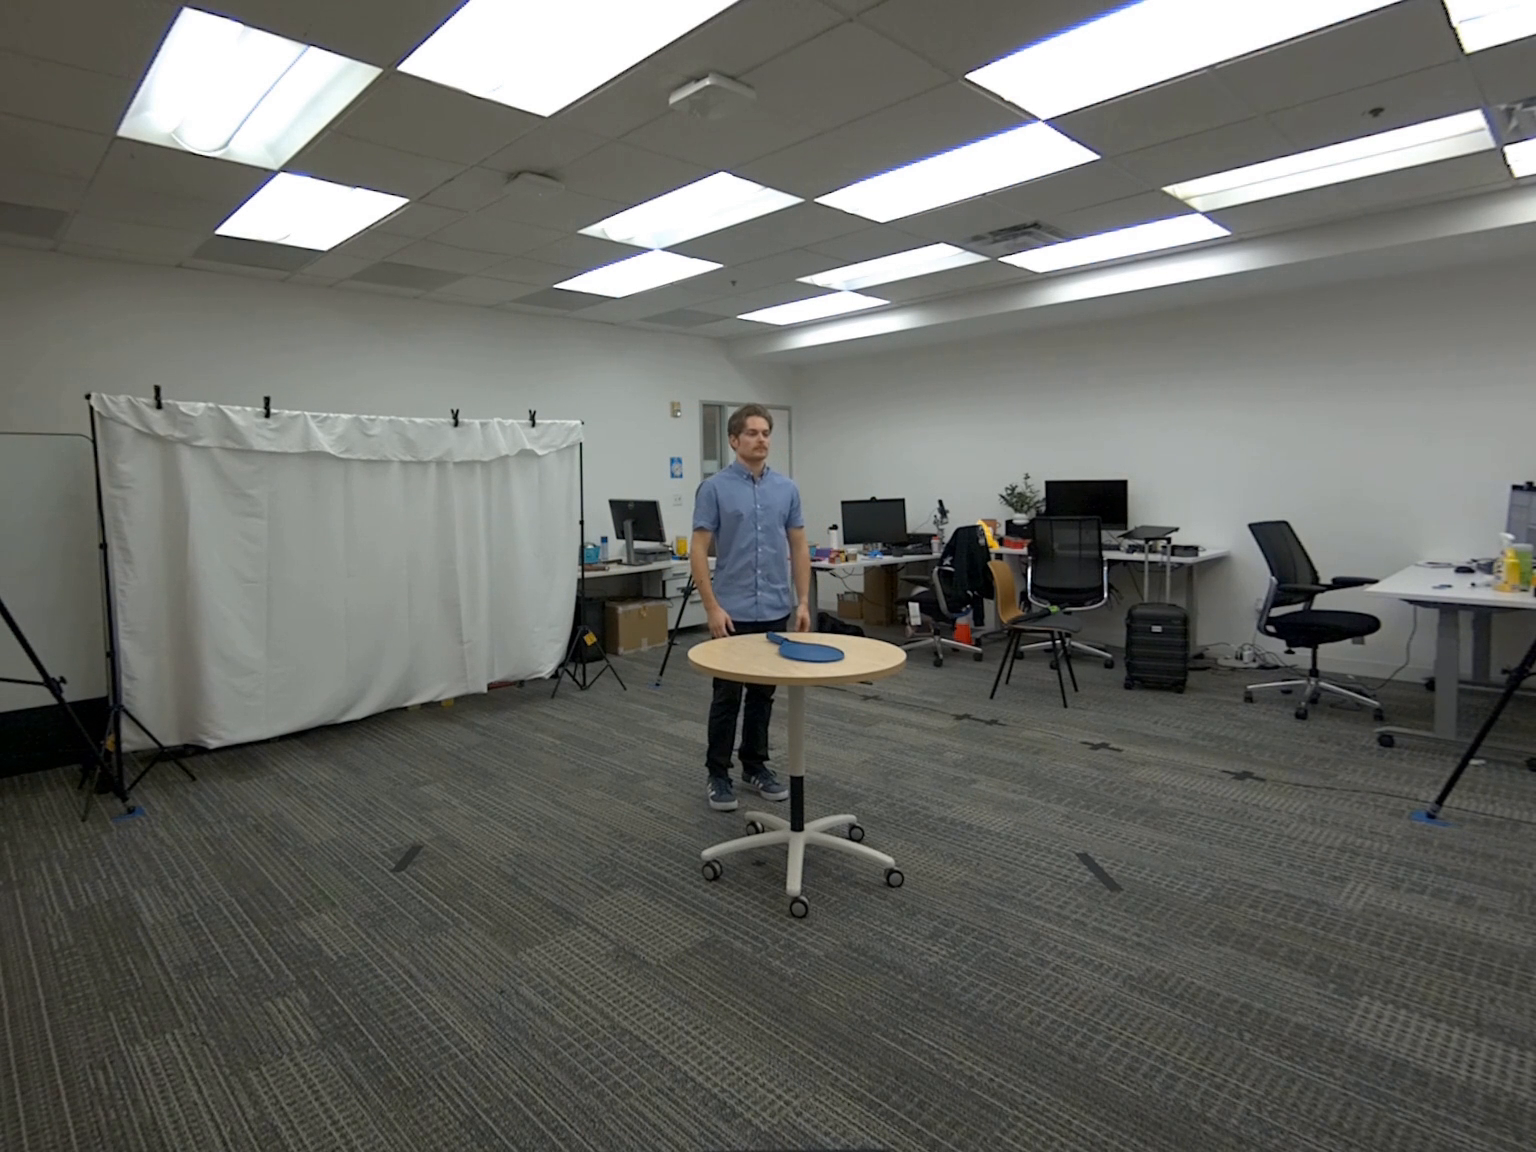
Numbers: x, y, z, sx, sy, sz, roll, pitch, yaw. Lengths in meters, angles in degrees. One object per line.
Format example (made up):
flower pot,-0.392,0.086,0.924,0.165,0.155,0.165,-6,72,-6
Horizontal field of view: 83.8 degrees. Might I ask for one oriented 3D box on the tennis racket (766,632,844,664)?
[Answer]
tennis racket,0.124,0.263,3.047,0.209,0.031,0.444,-4,9,-24
